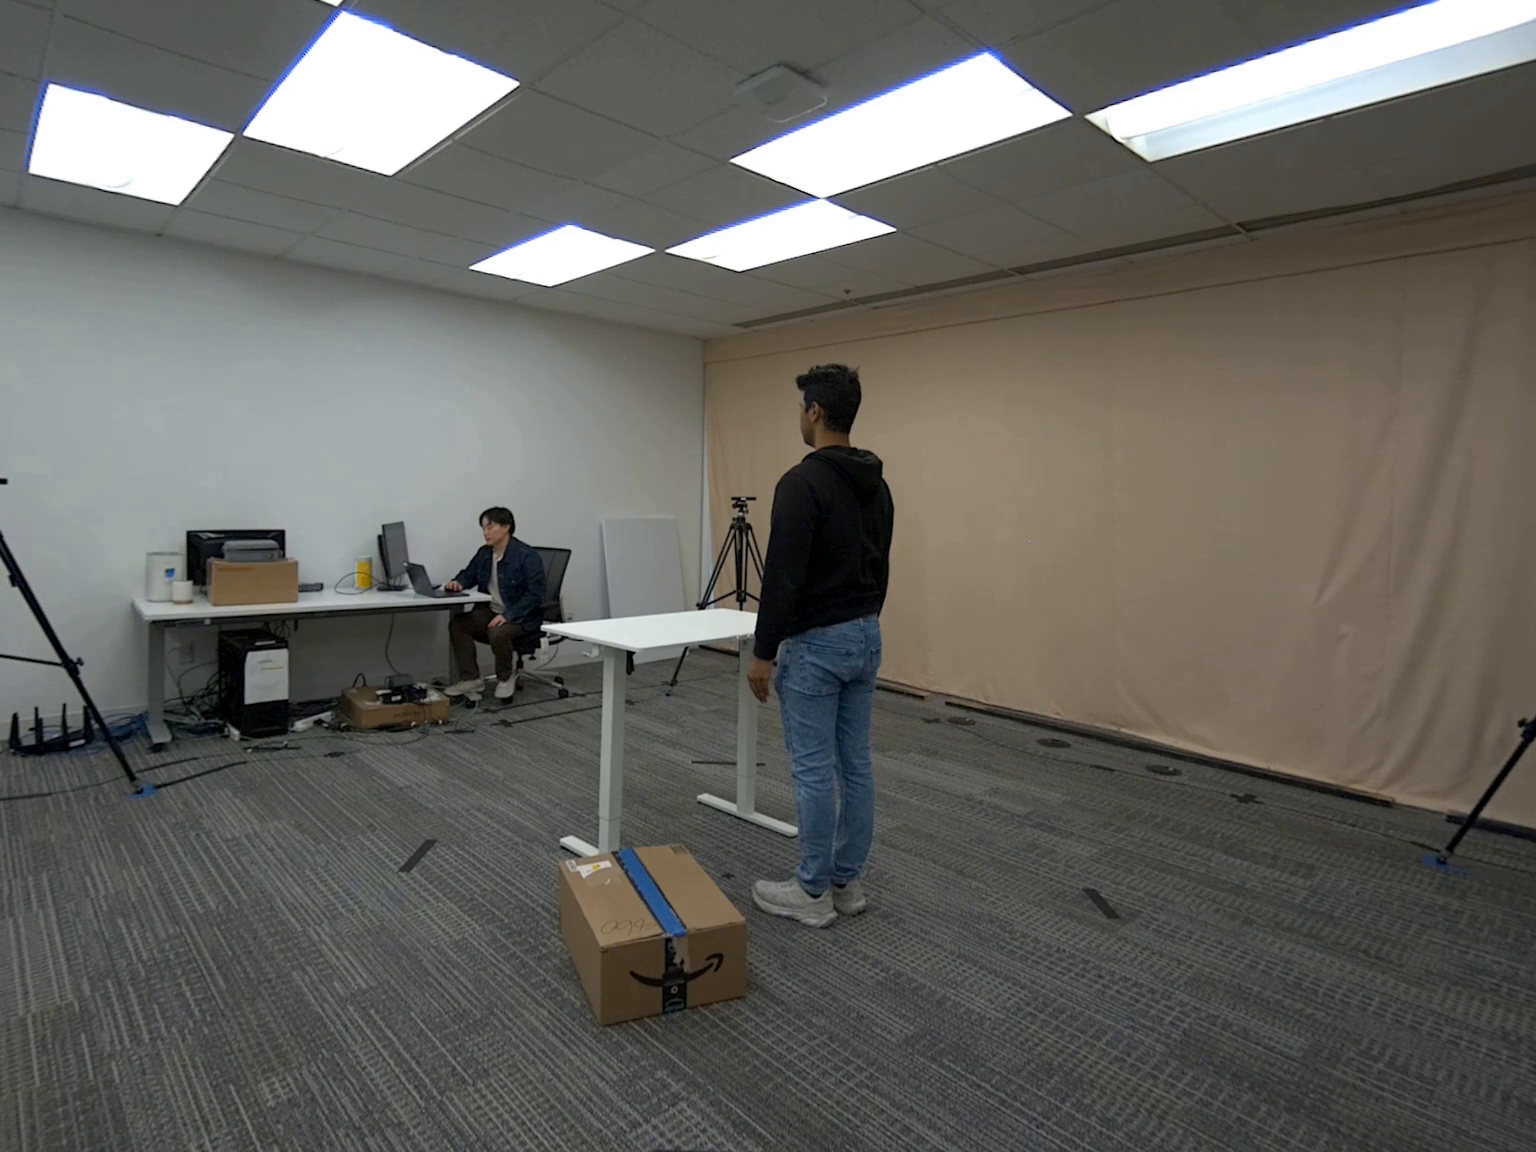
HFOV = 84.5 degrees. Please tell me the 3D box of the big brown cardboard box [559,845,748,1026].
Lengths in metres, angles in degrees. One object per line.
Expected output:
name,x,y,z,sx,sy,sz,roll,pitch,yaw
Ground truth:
big brown cardboard box,-0.373,1.045,2.525,0.410,0.232,0.601,-1,6,-24
